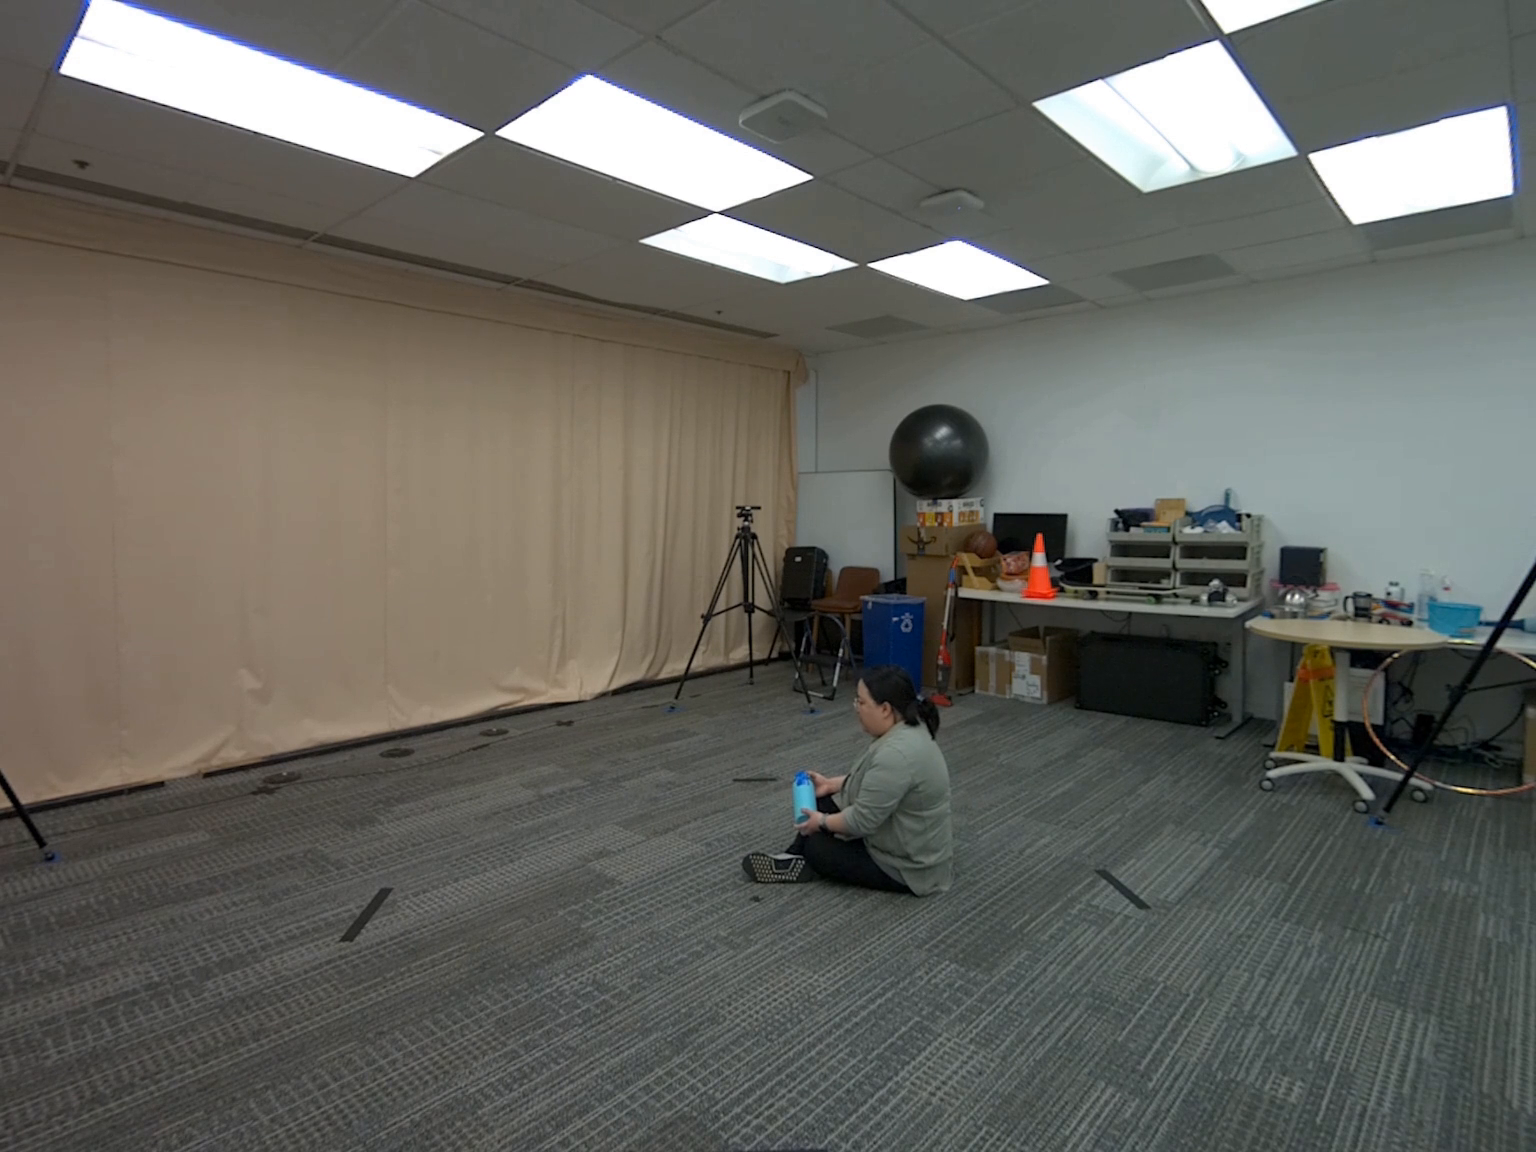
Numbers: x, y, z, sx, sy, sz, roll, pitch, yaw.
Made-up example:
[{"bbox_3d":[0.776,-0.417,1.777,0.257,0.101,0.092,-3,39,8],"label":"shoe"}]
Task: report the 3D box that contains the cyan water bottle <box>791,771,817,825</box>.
[{"bbox_3d":[0.154,0.878,3.306,0.092,0.091,0.286,0,22,0],"label":"cyan water bottle"}]
